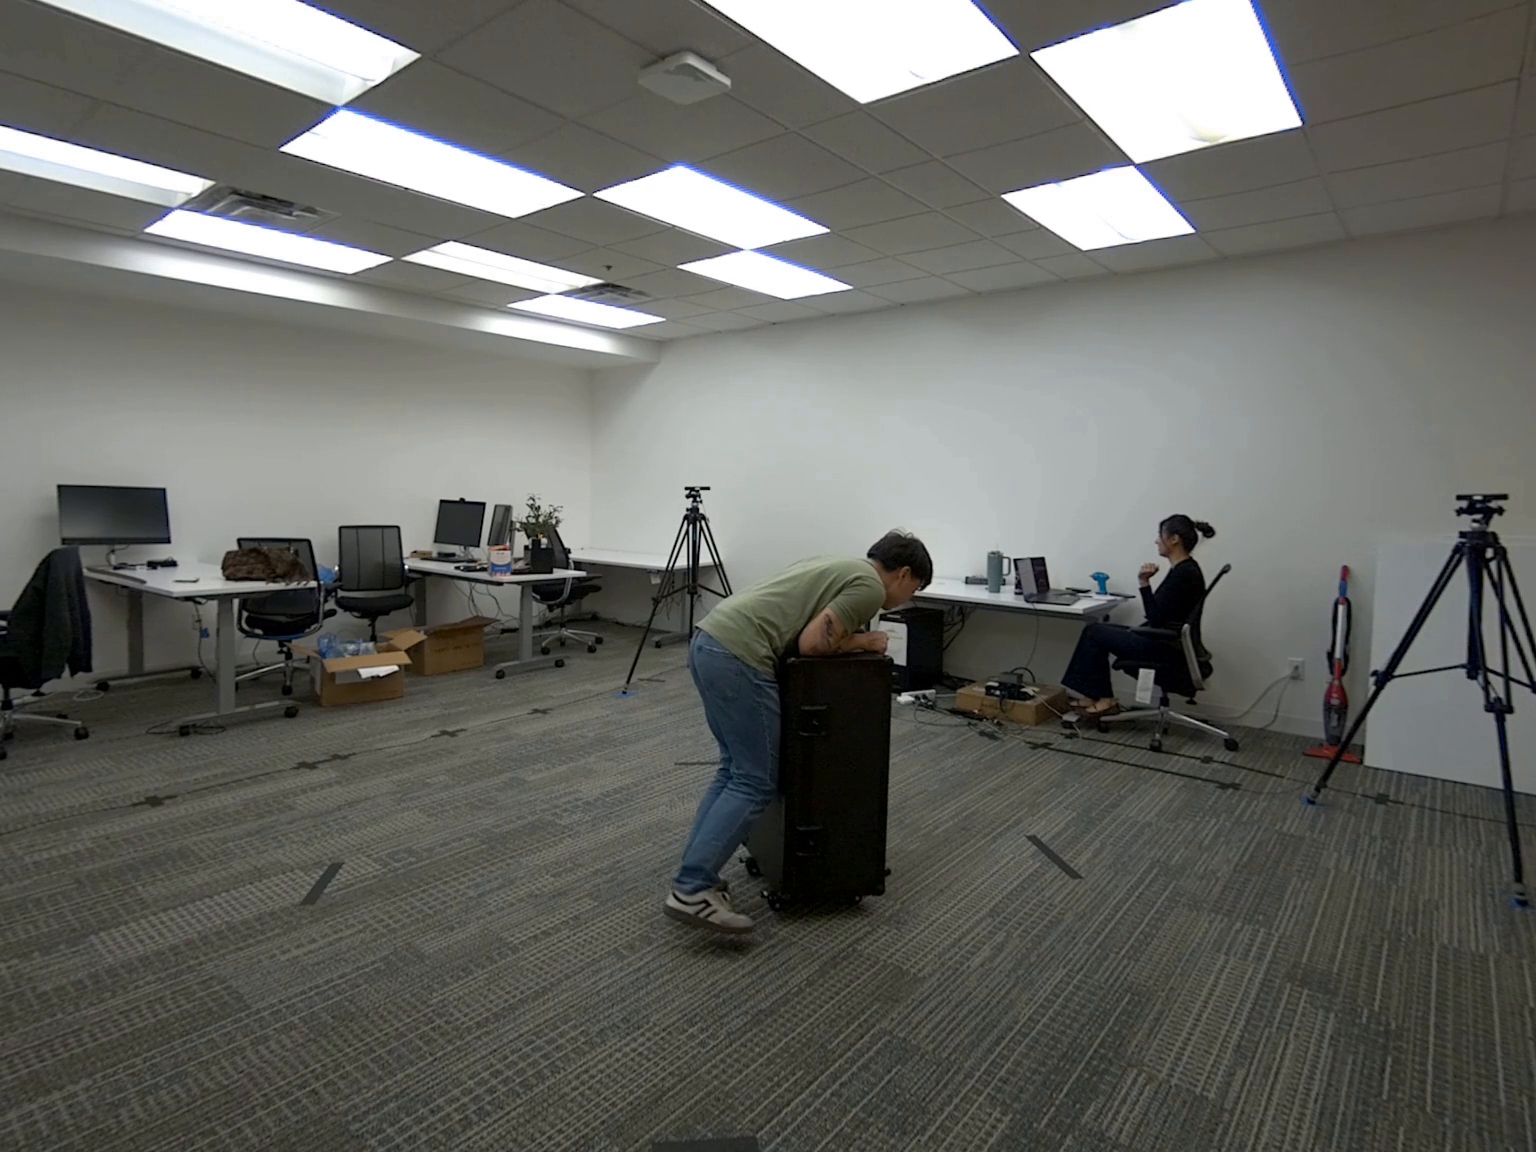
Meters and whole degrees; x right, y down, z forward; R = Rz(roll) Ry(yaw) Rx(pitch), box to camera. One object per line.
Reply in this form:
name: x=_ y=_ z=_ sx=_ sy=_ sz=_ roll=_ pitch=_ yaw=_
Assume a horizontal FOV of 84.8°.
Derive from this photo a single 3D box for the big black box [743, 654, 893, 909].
big black box: x=0.155 y=0.664 z=2.966 sx=0.390 sy=0.860 sz=0.531 roll=2 pitch=3 yaw=-15
